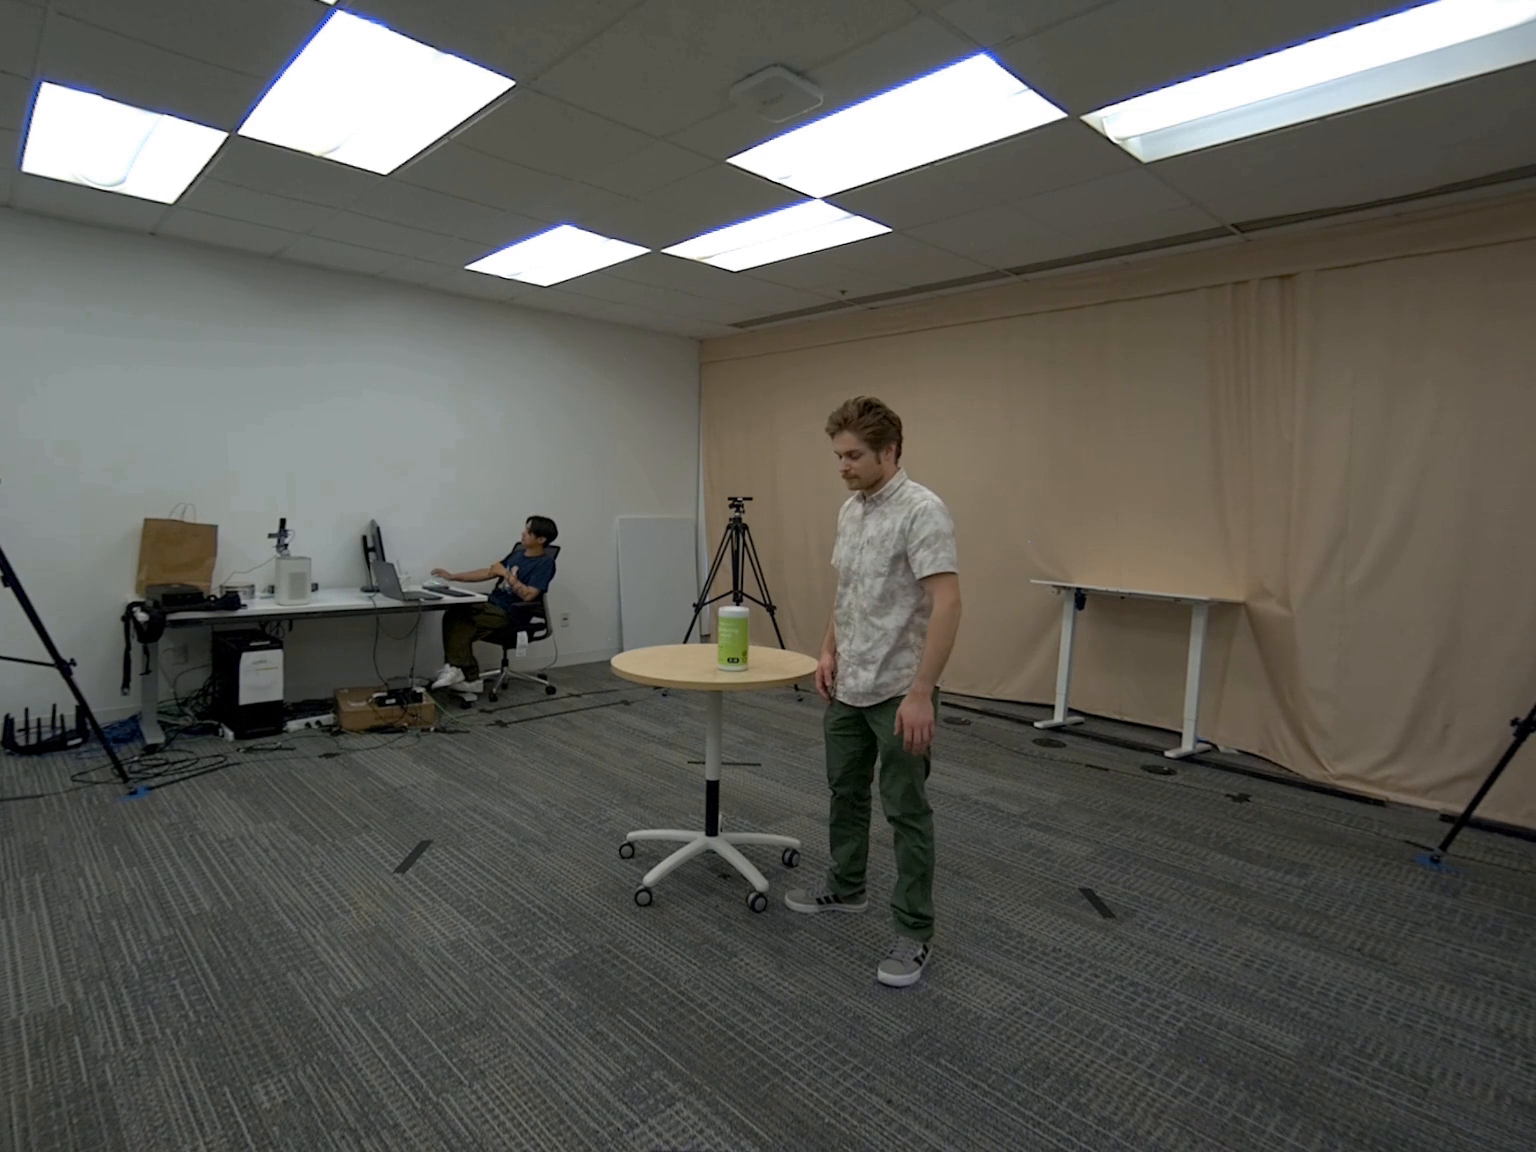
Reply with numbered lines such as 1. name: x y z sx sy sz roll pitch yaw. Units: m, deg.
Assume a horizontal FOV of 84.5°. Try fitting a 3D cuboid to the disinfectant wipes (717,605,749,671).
1. disinfectant wipes: -0.125 0.217 2.953 0.118 0.216 0.118 0 7 -1
